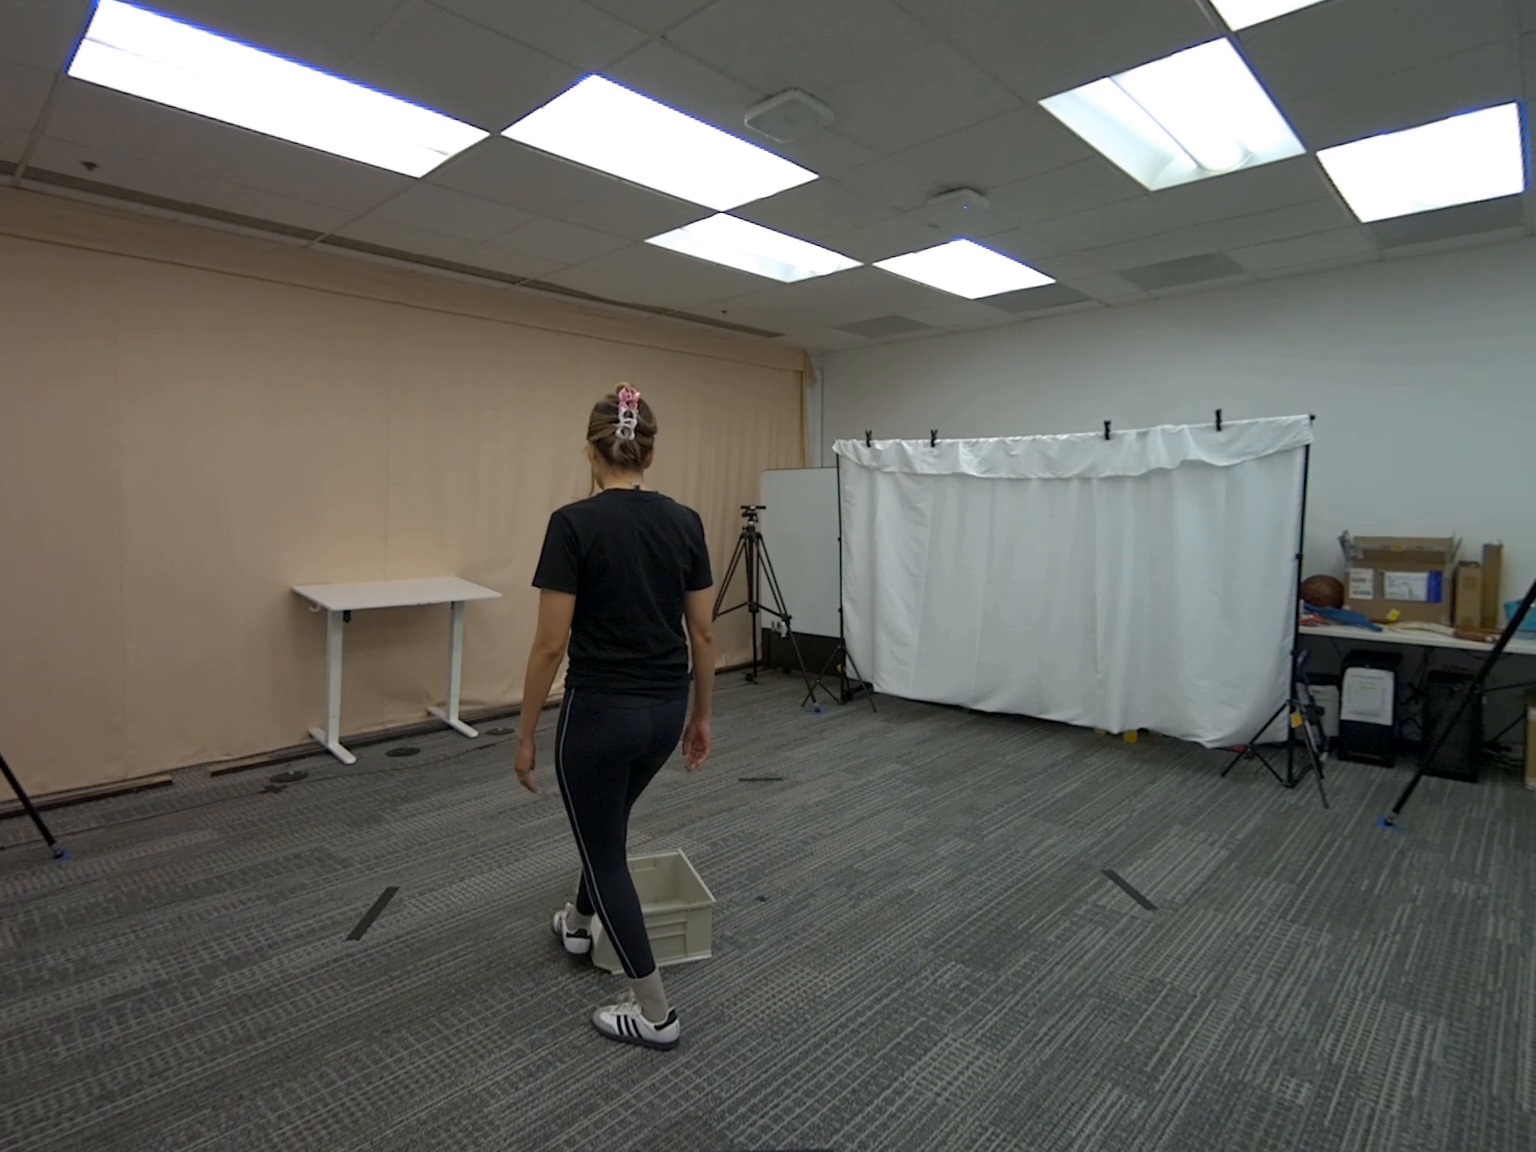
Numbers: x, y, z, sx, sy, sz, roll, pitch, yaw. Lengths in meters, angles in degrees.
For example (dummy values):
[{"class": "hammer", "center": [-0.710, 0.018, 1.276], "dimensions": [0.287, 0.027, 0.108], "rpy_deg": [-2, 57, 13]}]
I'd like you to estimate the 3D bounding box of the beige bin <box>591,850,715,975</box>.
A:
[{"class": "beige bin", "center": [-0.403, 1.078, 2.729], "dimensions": [0.370, 0.189, 0.431], "rpy_deg": [0, 4, -20]}]
